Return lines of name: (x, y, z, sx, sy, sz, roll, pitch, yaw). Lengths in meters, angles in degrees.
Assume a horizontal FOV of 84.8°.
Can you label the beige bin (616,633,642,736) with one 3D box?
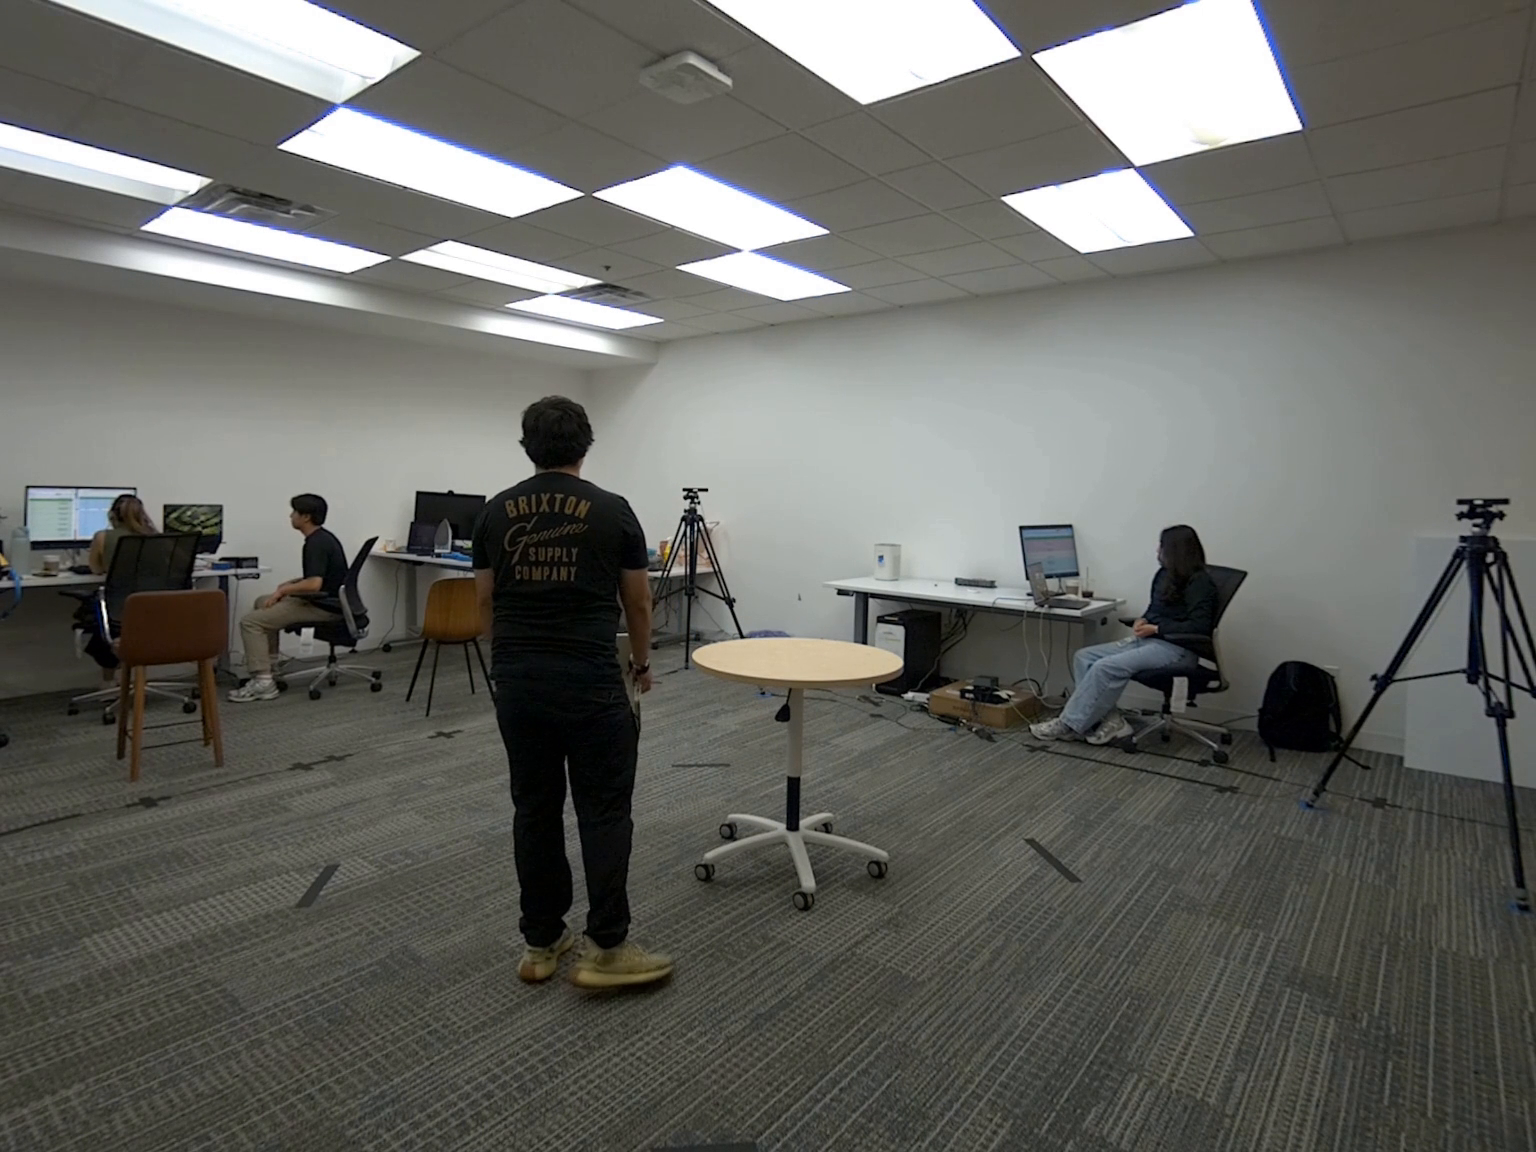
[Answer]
beige bin: (-0.638, 0.380, 2.813, 0.420, 0.184, 0.389, -3, 31, -5)
